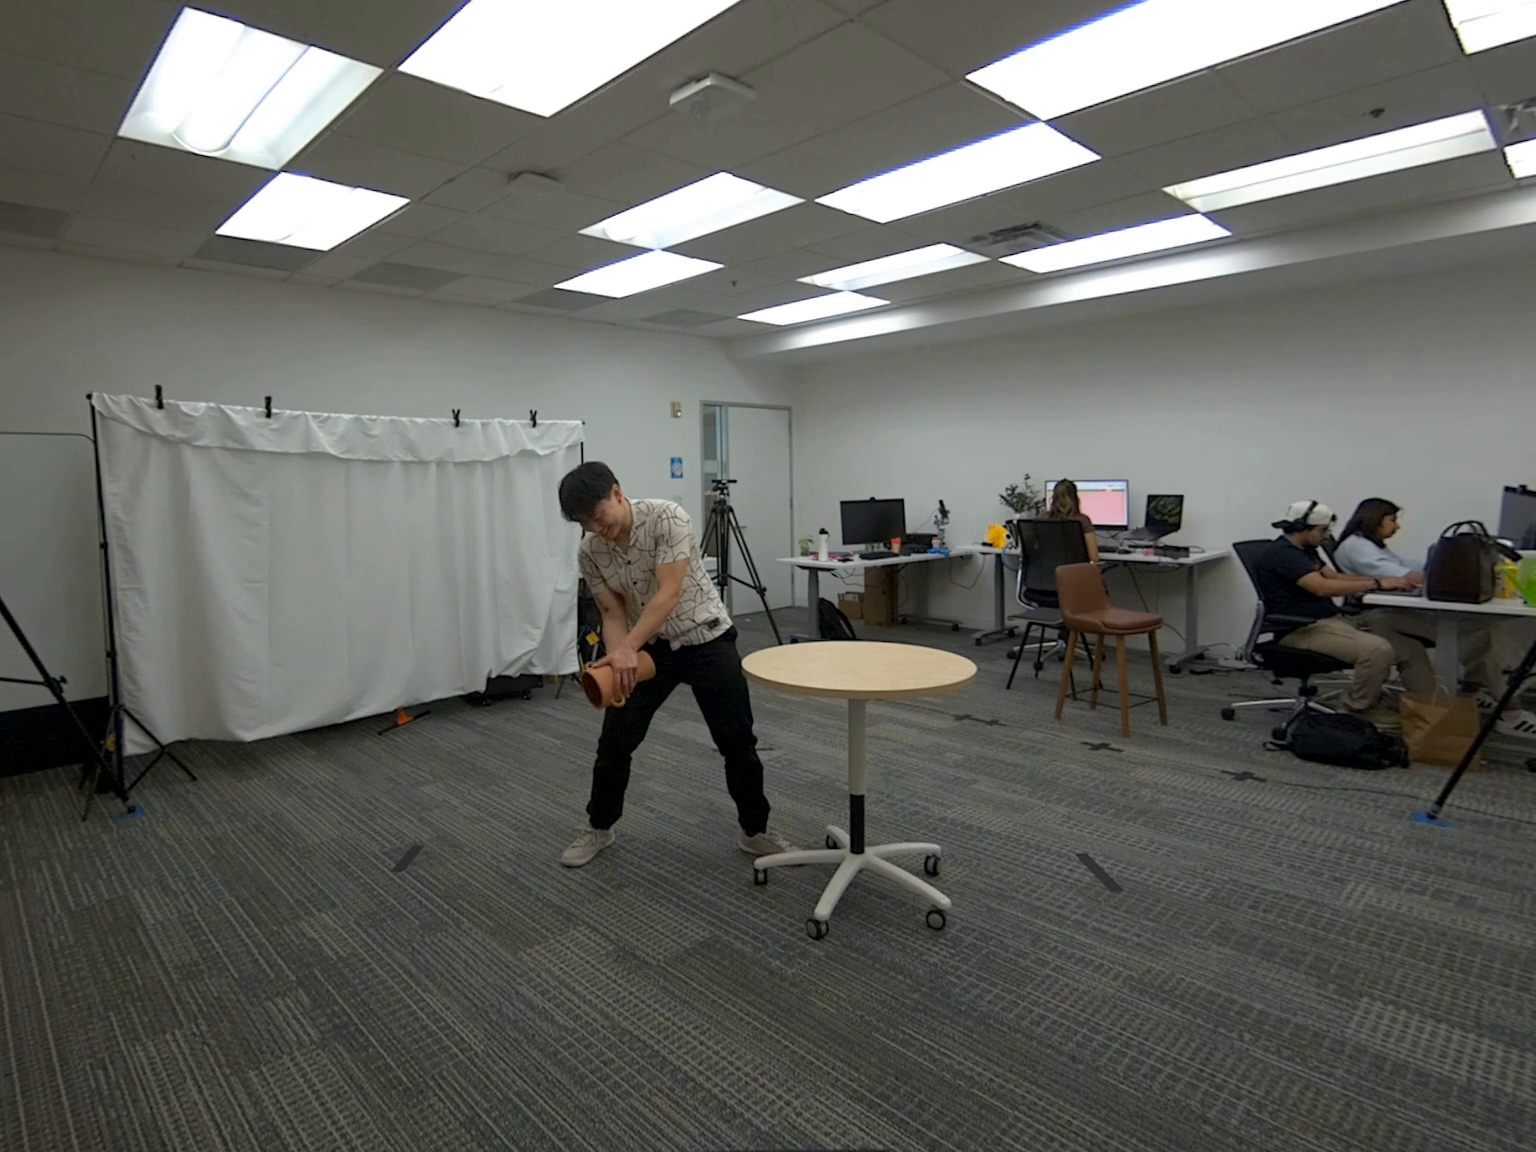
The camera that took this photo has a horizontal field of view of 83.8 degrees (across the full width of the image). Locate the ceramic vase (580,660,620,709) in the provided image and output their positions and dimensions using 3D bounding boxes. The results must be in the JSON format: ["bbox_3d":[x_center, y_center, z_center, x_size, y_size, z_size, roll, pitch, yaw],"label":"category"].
[{"bbox_3d":[-0.498,0.334,2.810,0.216,0.158,0.137,-22,3,-38],"label":"ceramic vase"}]
